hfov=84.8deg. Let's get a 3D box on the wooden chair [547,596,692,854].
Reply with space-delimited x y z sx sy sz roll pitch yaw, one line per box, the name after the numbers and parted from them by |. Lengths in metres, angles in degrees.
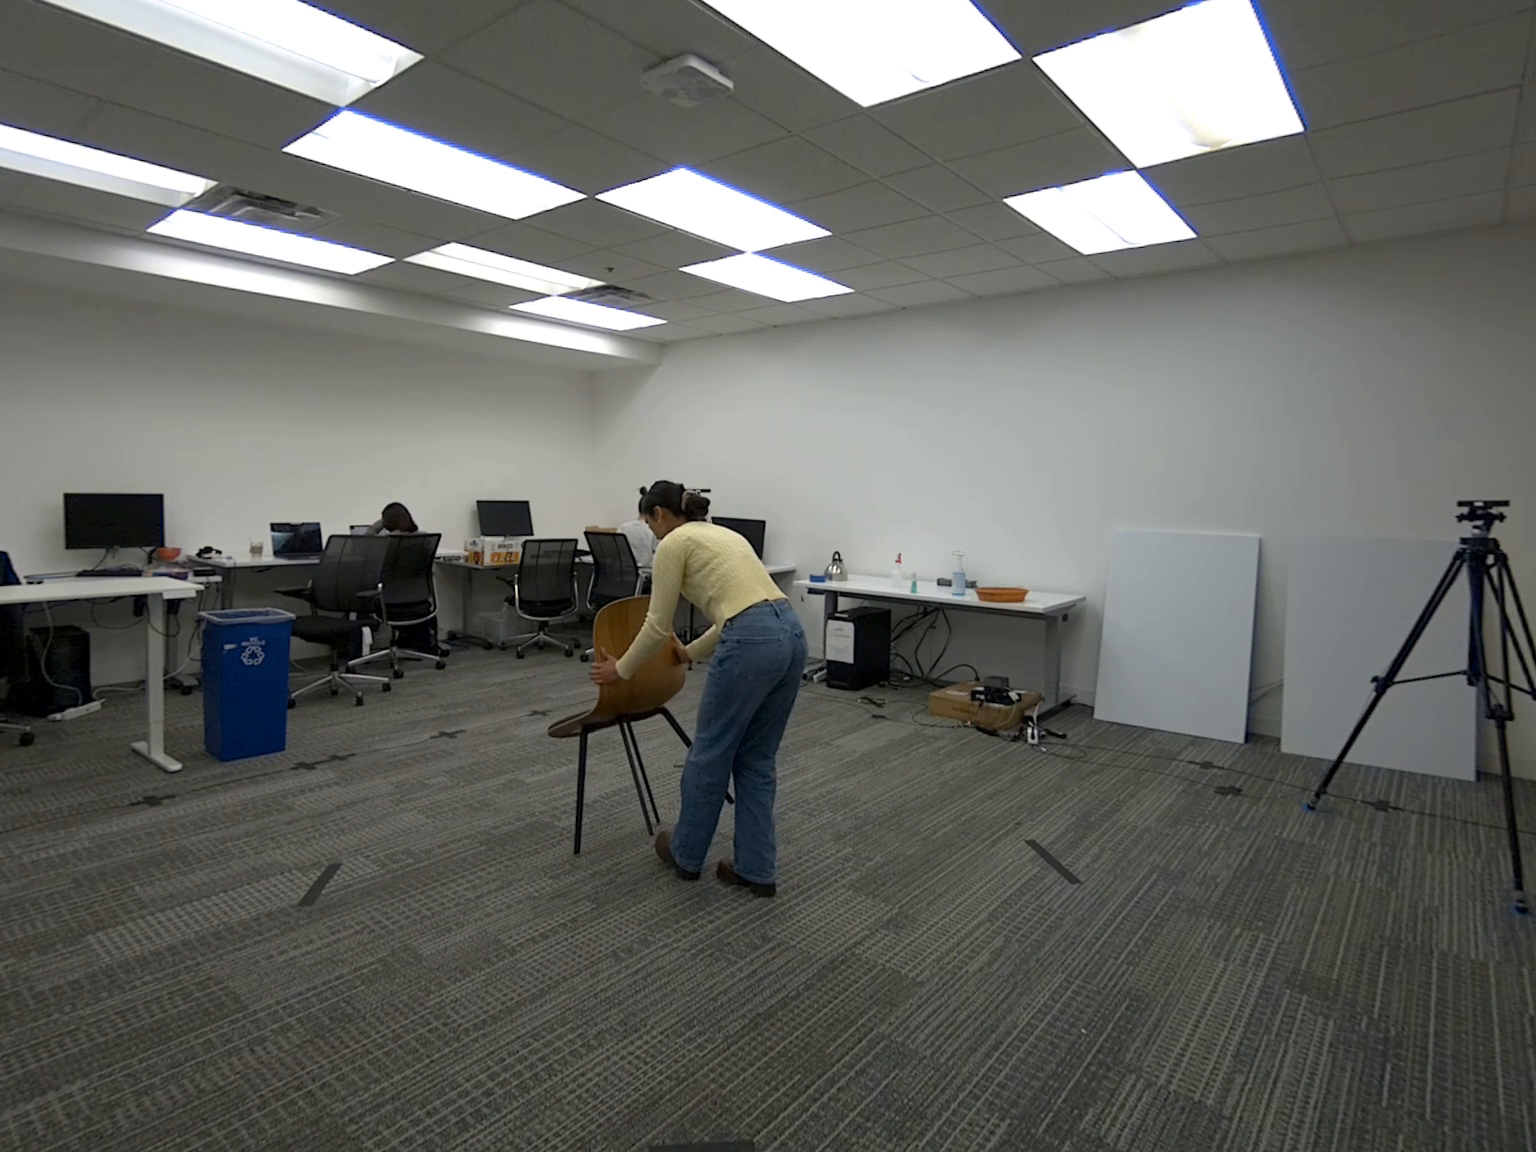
-0.581 0.567 3.341 0.532 0.888 0.464 -22 -12 38 | wooden chair
